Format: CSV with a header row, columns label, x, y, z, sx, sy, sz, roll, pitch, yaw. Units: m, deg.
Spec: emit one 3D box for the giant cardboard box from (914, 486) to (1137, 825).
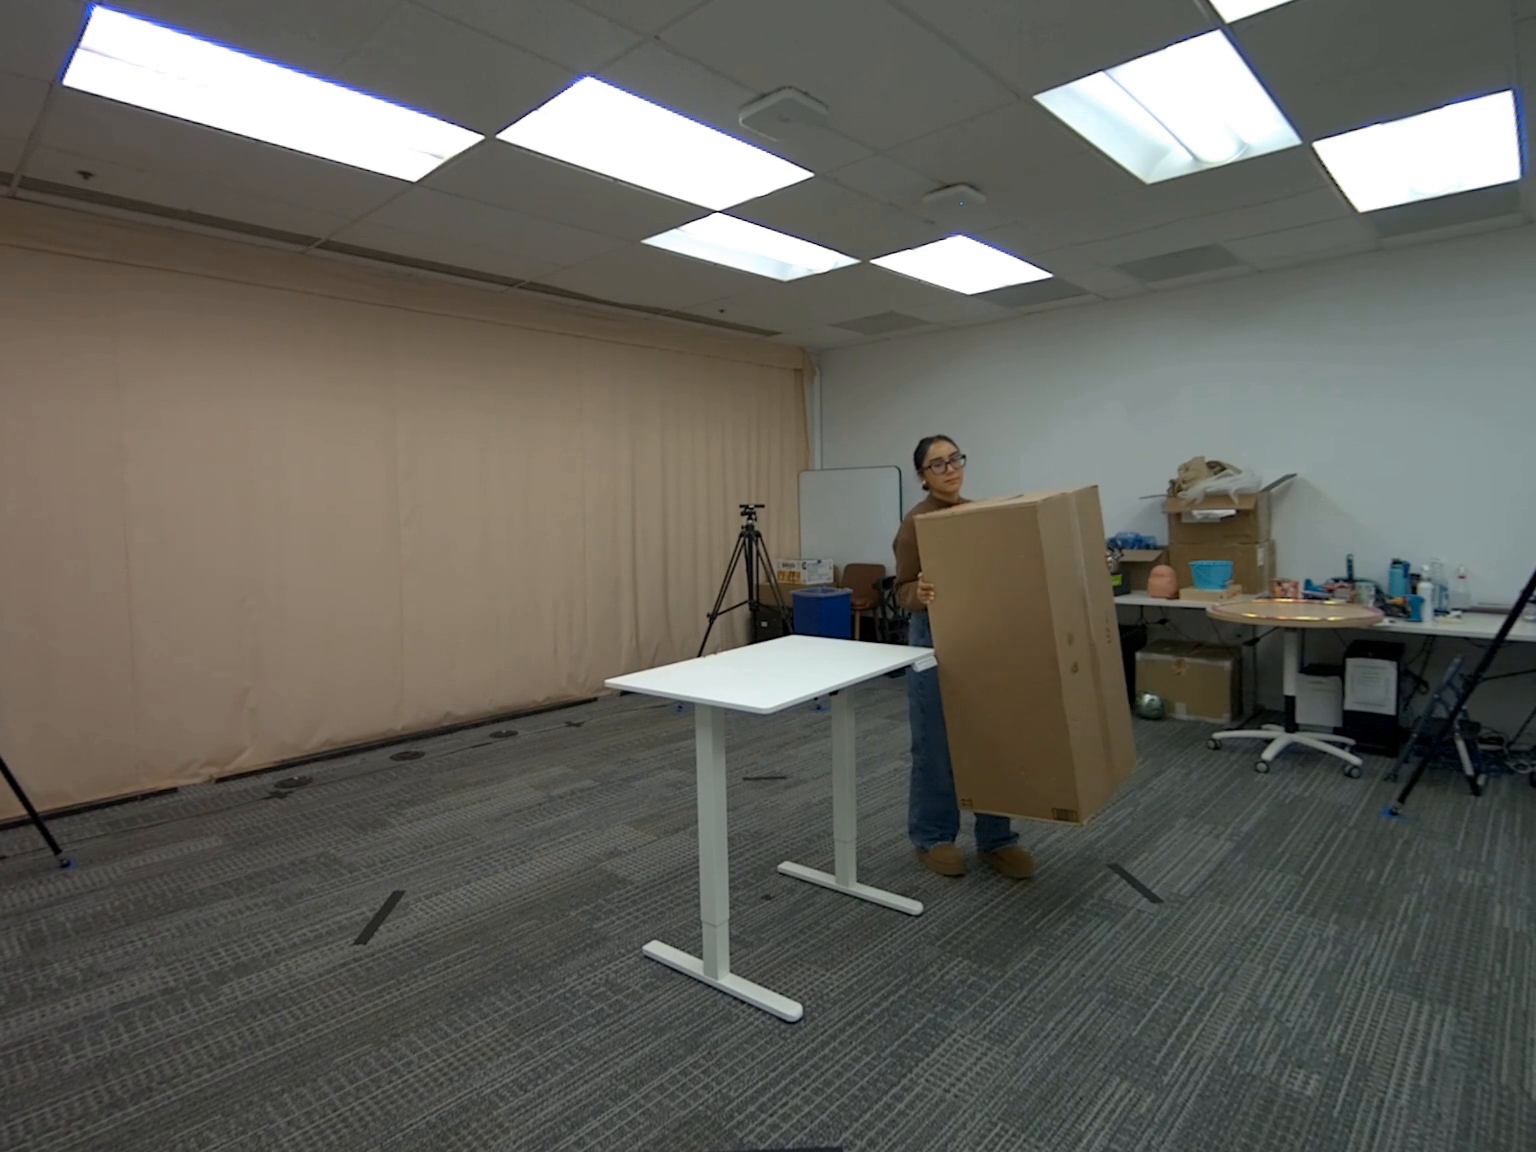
label,x,y,z,sx,sy,sz,roll,pitch,yaw
giant cardboard box,0.914,0.243,2.921,0.439,1.023,0.562,-6,5,41
